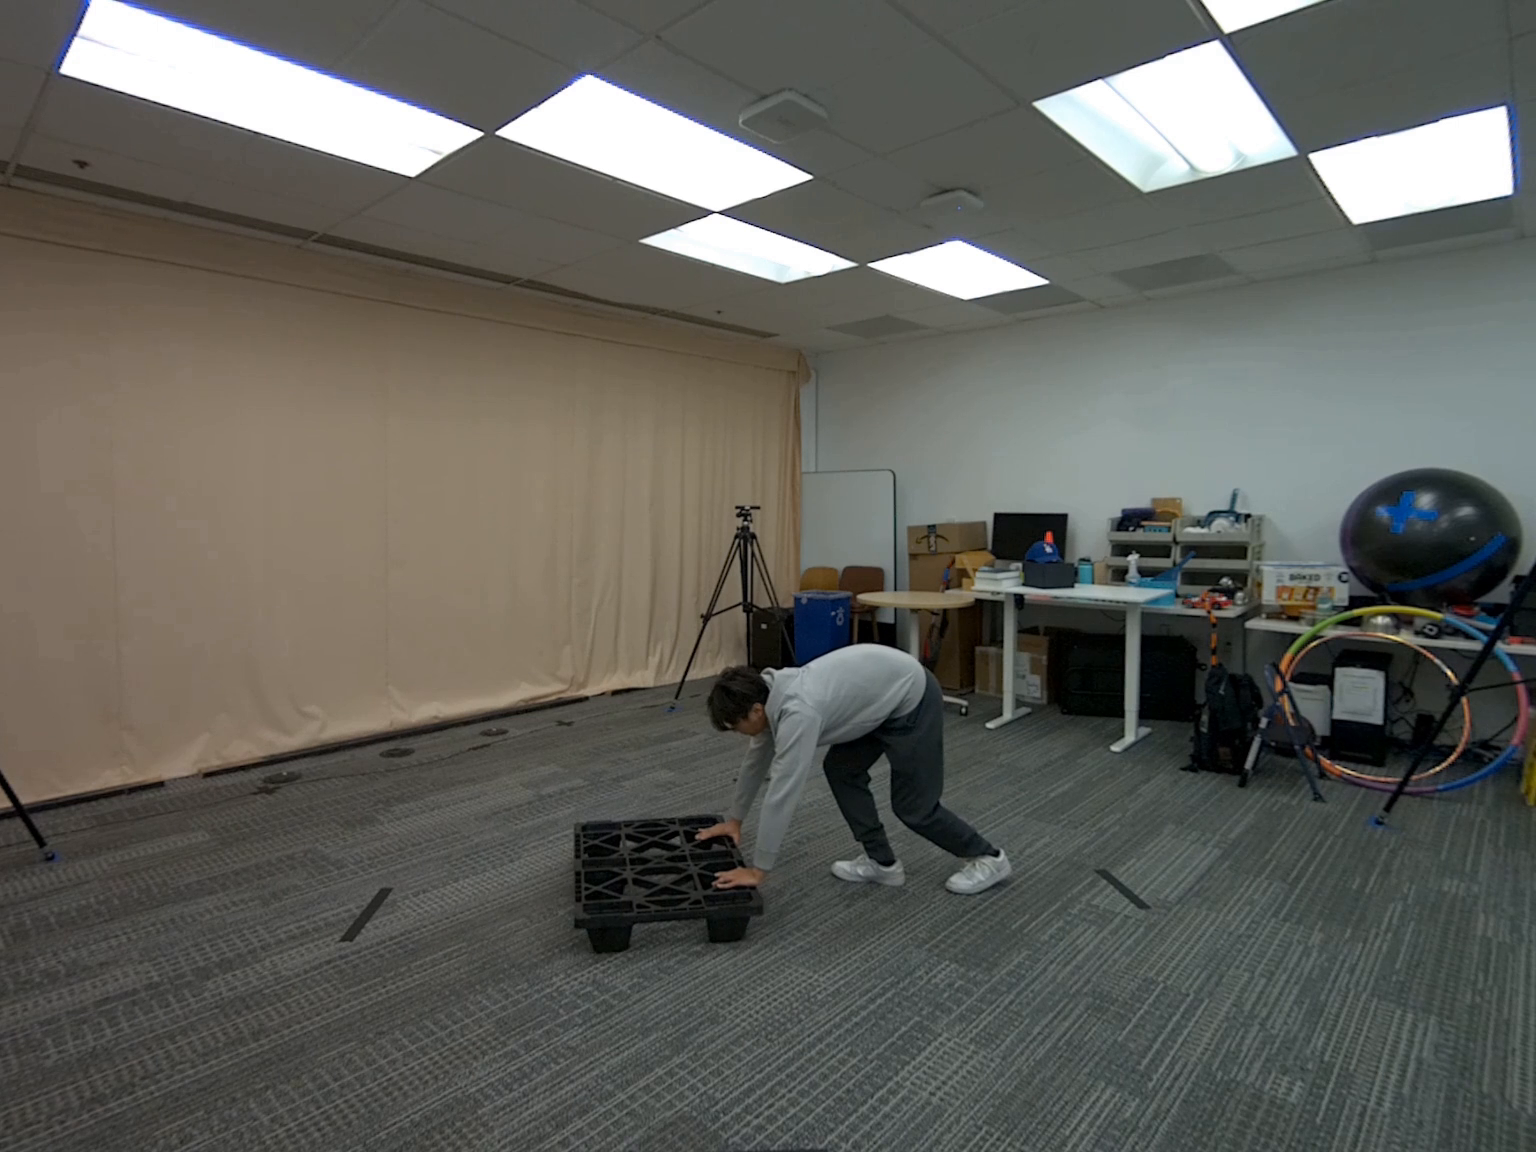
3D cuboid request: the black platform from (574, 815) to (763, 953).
[{"bbox_3d":[-0.393,1.074,3.009,0.598,0.143,0.816,-2,5,-11],"label":"black platform"}]
